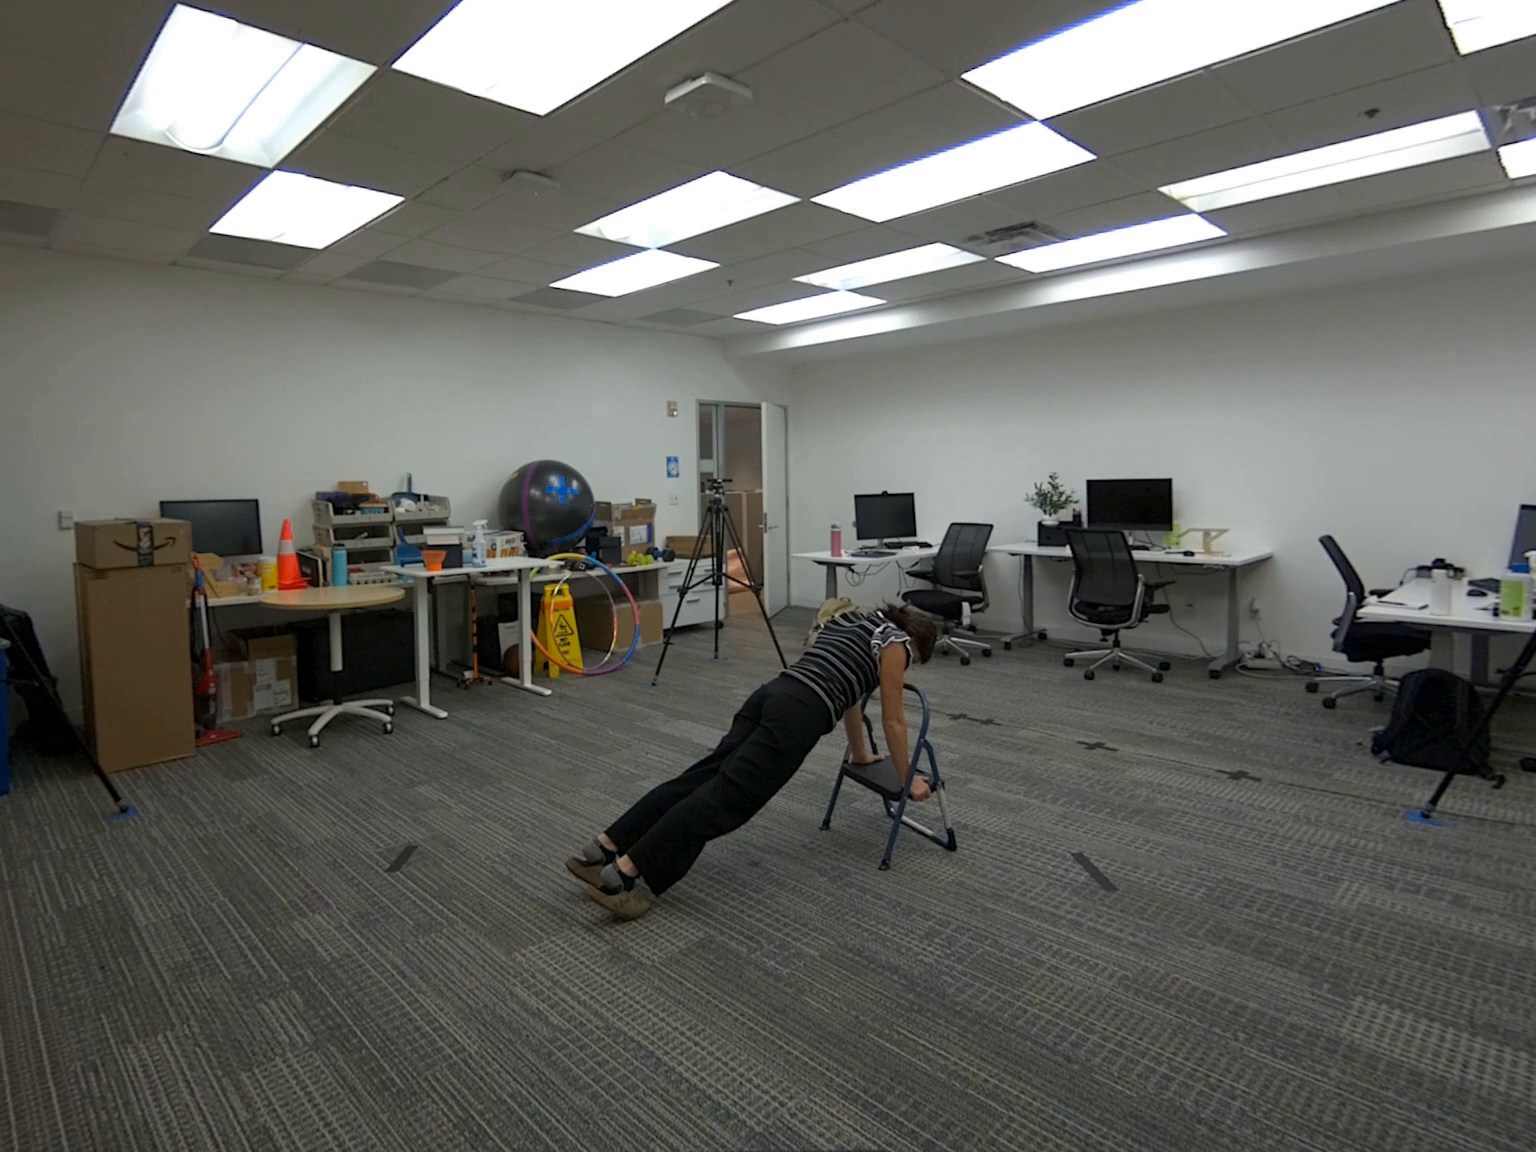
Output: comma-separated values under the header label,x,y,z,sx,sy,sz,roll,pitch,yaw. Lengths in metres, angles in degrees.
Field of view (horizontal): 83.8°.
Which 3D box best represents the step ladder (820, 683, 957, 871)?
label,x,y,z,sx,sy,sz,roll,pitch,yaw
step ladder,0.458,0.716,3.280,0.341,0.604,0.442,-2,5,-28
